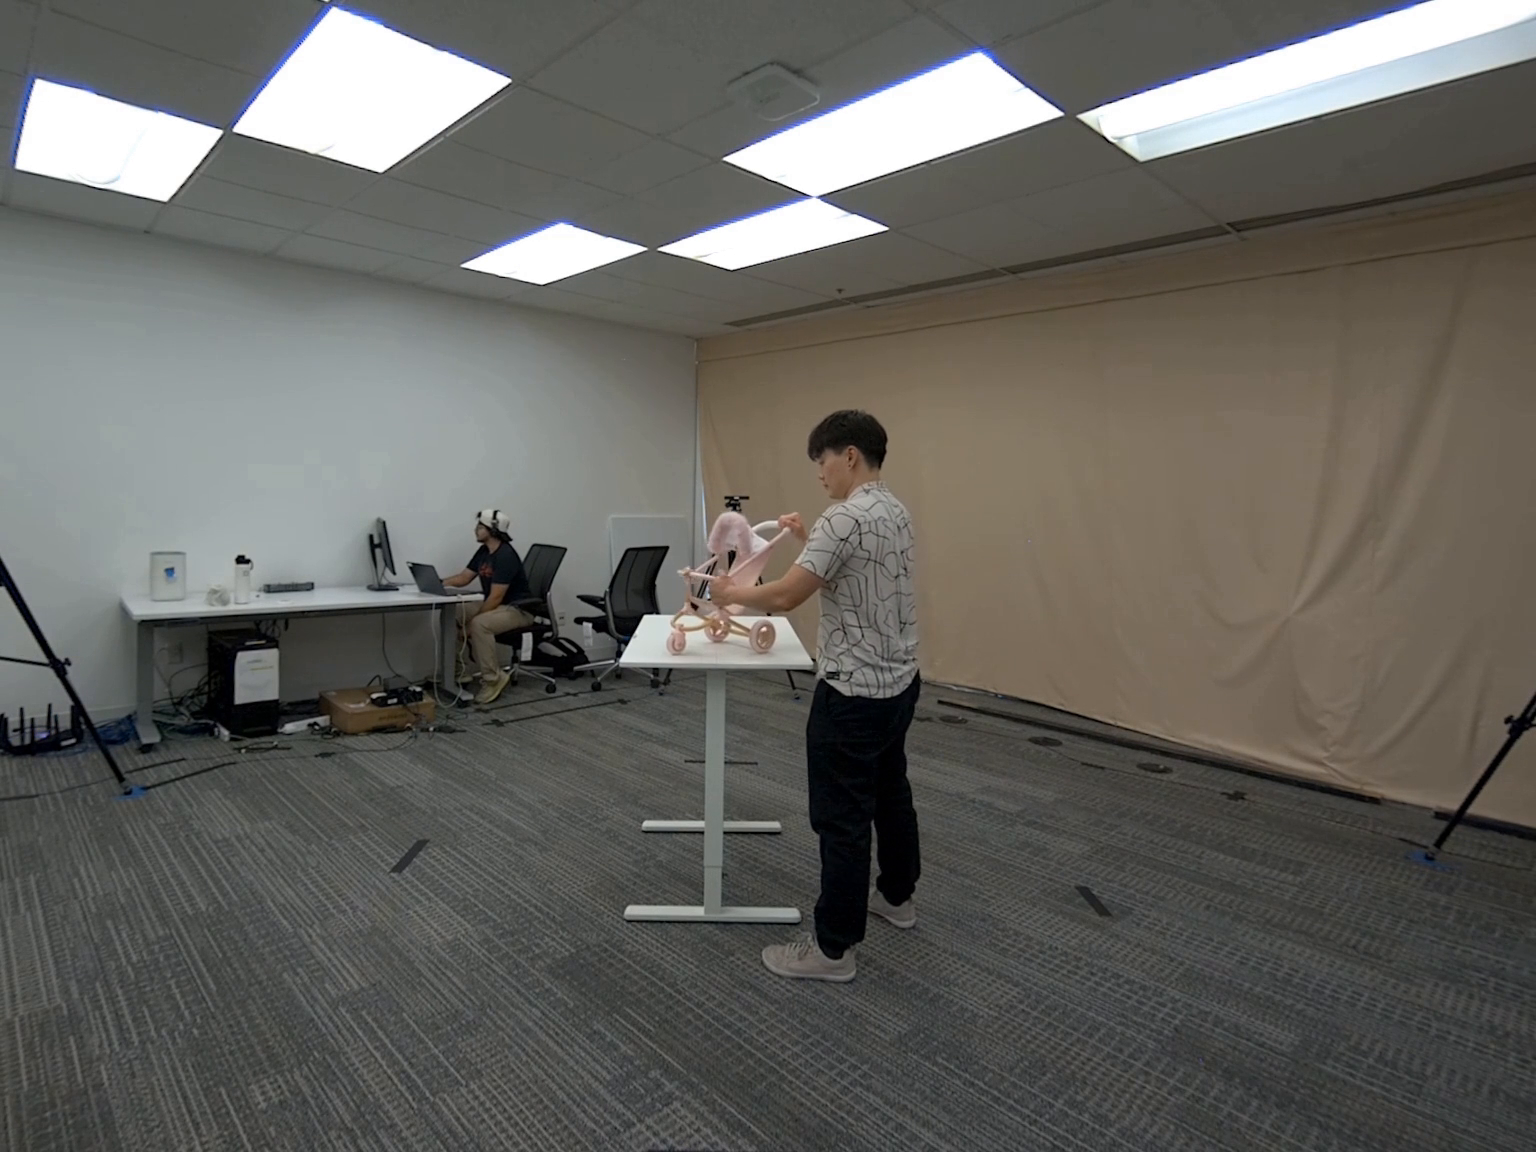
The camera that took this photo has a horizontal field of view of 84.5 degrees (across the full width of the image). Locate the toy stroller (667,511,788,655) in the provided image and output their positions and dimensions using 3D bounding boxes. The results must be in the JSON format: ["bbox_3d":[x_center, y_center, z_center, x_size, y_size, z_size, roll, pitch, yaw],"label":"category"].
[{"bbox_3d":[-0.148,0.025,2.826,0.332,0.536,0.288,17,-6,-33],"label":"toy stroller"}]
